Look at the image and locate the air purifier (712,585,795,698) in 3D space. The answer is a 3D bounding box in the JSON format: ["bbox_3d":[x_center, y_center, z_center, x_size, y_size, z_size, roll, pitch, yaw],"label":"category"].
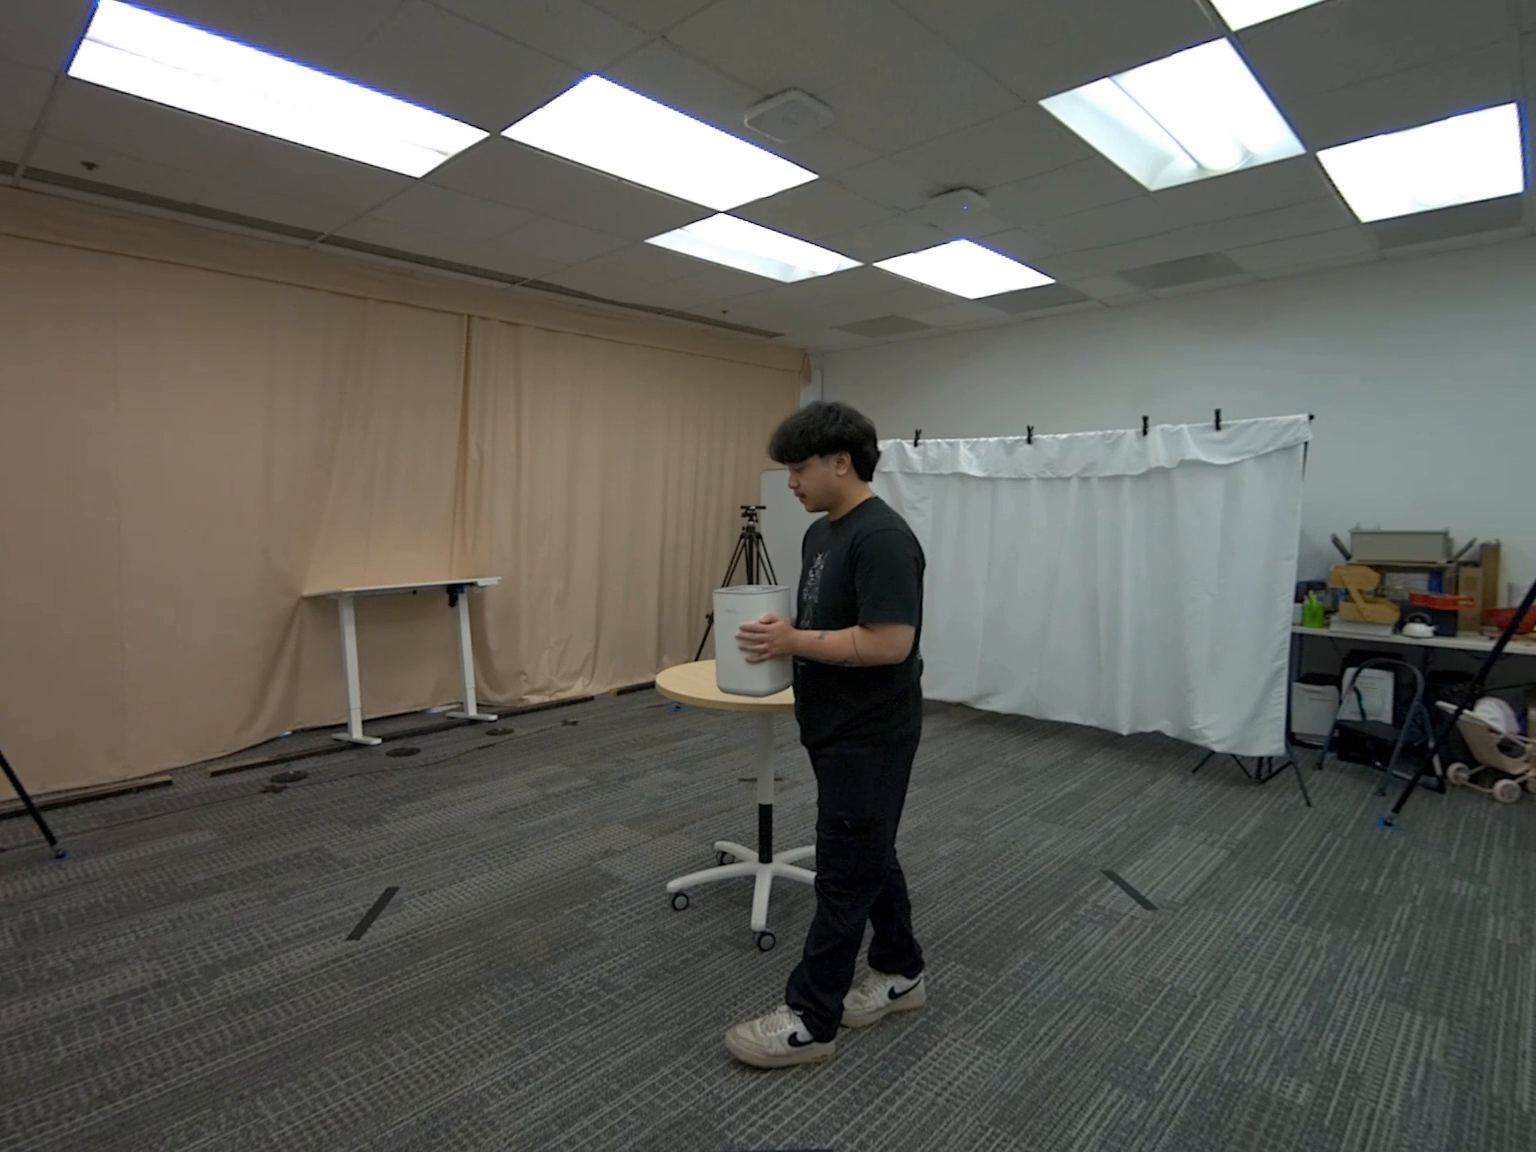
[{"bbox_3d":[-0.031,0.164,2.161,0.176,0.265,0.167,0,4,32],"label":"air purifier"}]
